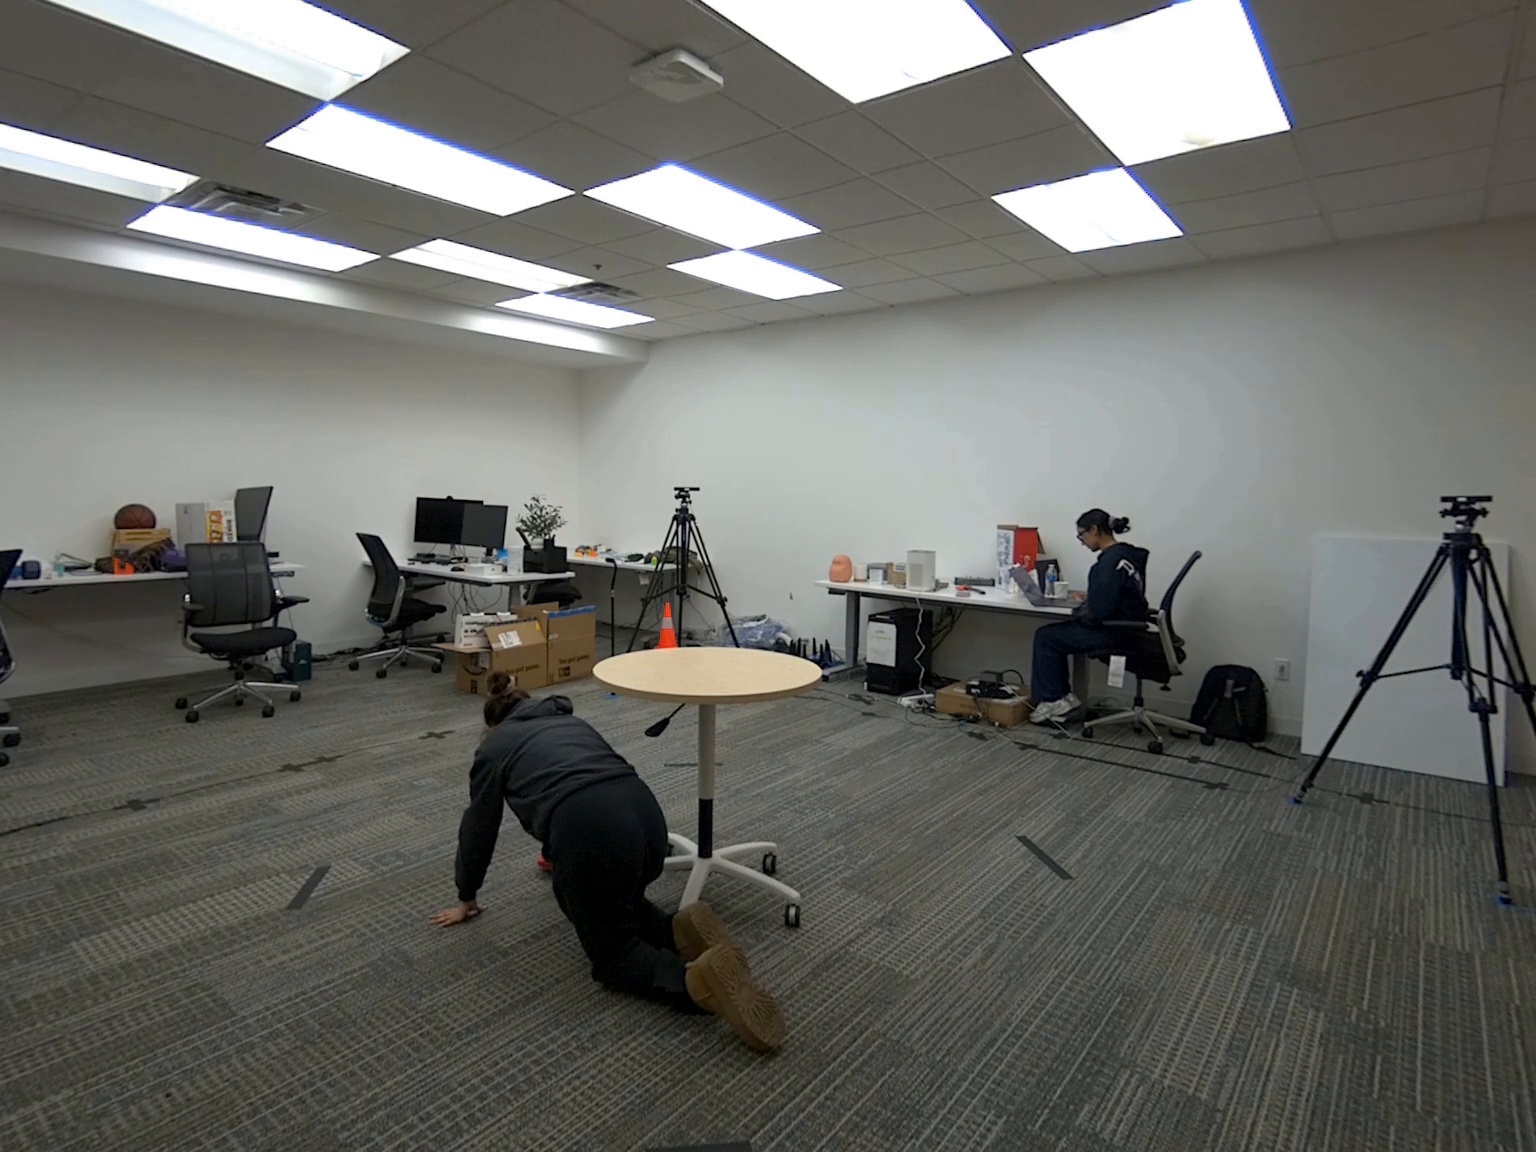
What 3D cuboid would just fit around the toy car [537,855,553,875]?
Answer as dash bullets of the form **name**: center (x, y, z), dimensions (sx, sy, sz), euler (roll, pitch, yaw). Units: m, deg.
- **toy car**: center (-0.748, 1.022, 3.126), dimensions (0.132, 0.084, 0.249), euler (4, -6, 13)
